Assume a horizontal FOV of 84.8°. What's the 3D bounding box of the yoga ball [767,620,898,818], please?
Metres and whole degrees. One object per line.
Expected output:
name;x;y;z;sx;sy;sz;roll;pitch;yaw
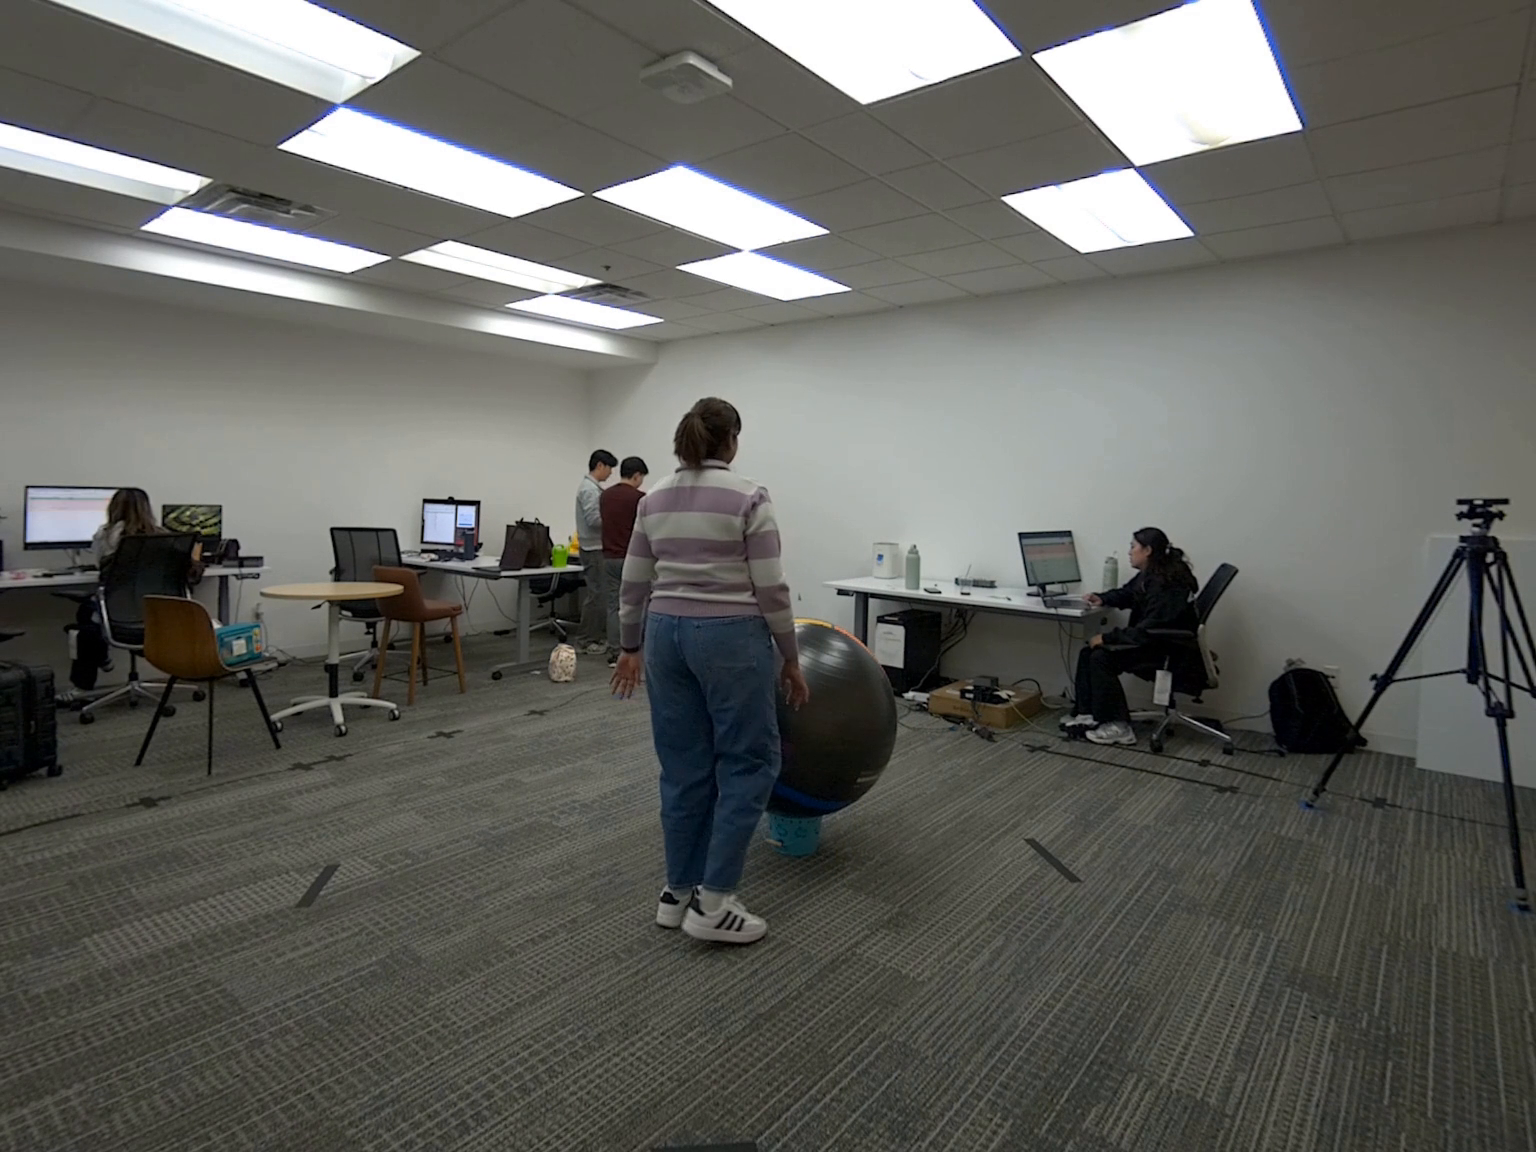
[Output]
yoga ball;0.118;0.544;3.319;0.757;0.756;0.762;1;4;-2
